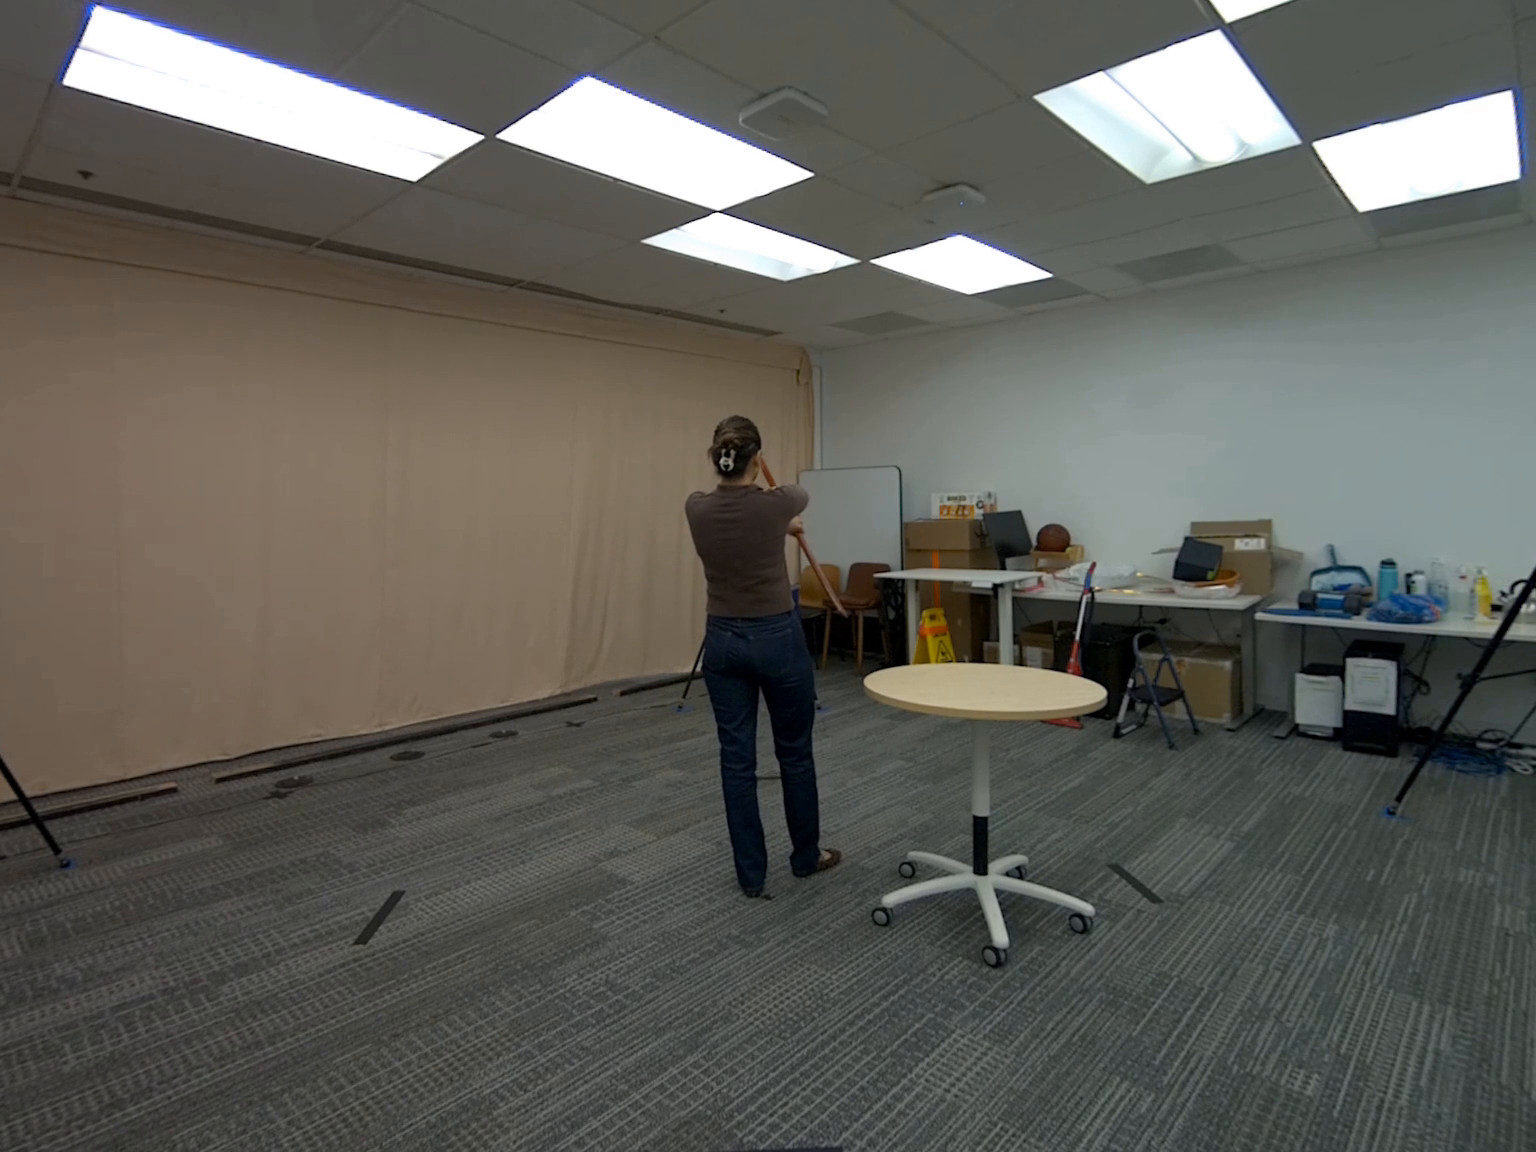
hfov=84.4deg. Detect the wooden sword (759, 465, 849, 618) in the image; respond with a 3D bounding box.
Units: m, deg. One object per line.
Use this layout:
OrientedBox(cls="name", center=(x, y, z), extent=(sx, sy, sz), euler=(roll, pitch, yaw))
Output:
OrientedBox(cls="wooden sword", center=(0.100, -0.259, 3.503), extent=(0.050, 1.049, 0.024), euler=(-18, -26, -19))
